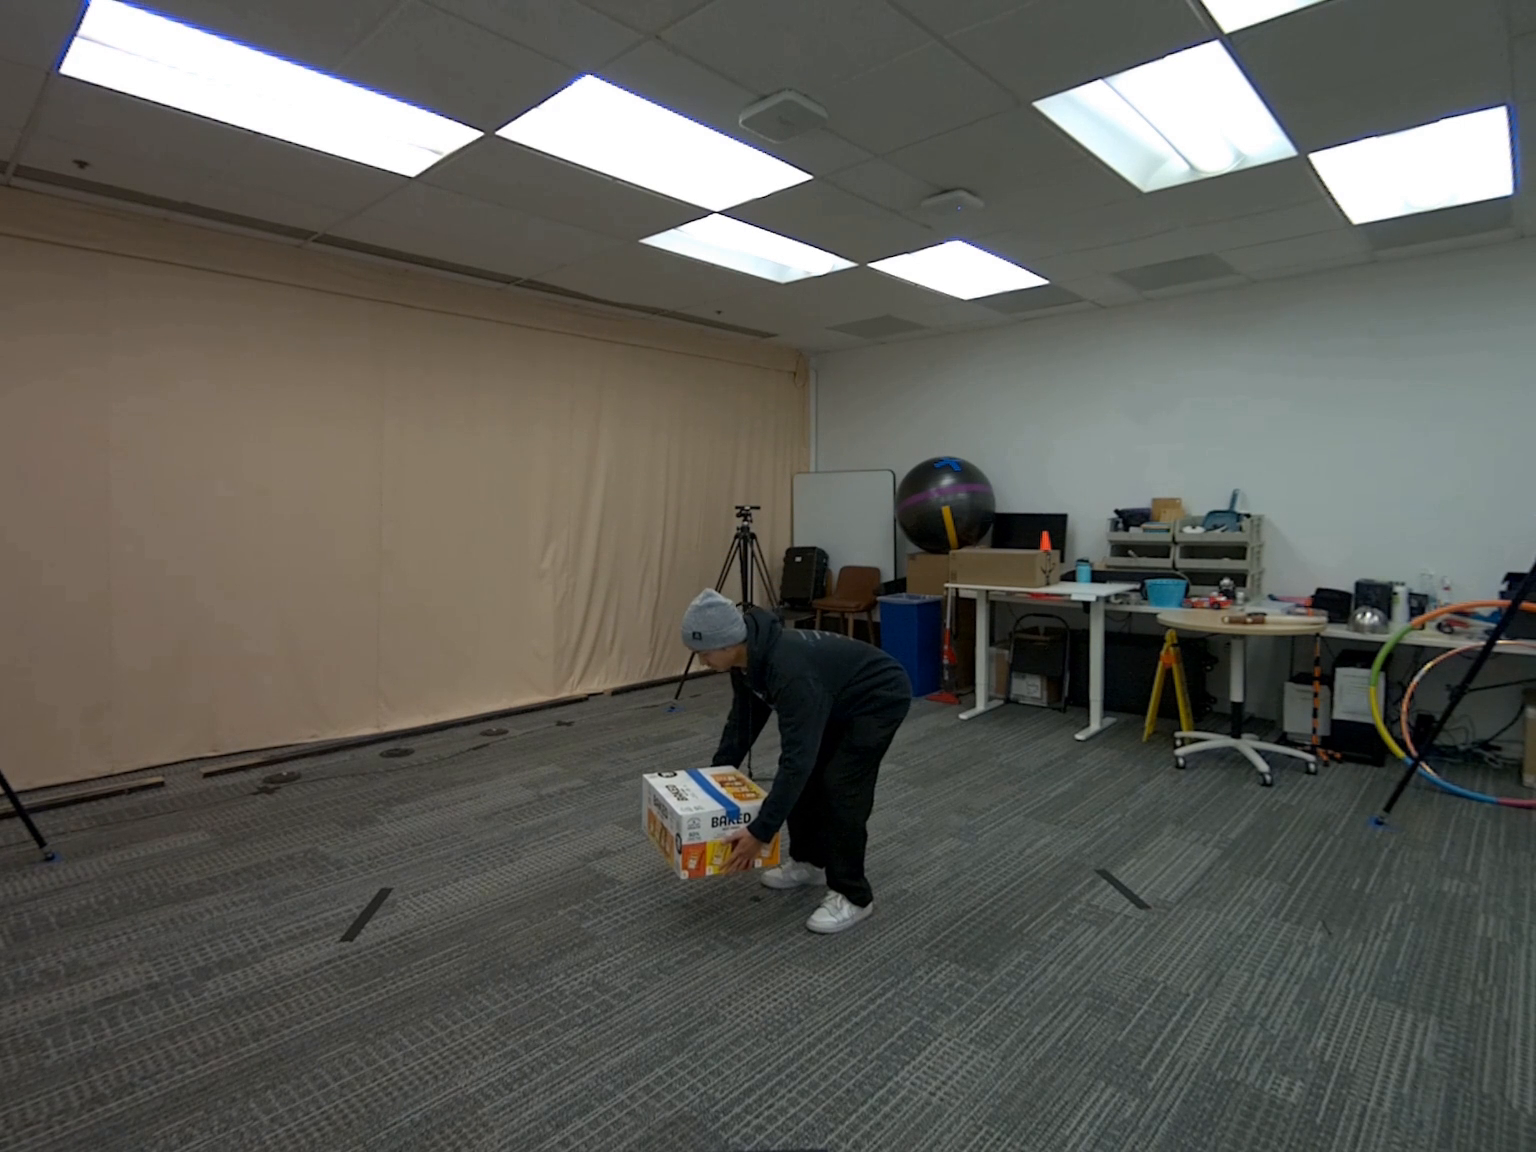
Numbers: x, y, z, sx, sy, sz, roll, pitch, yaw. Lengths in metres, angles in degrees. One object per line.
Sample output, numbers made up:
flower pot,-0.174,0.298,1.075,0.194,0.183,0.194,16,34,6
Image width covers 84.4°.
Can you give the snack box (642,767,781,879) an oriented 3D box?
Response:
snack box,-0.199,0.816,2.829,0.332,0.205,0.416,0,5,-24
